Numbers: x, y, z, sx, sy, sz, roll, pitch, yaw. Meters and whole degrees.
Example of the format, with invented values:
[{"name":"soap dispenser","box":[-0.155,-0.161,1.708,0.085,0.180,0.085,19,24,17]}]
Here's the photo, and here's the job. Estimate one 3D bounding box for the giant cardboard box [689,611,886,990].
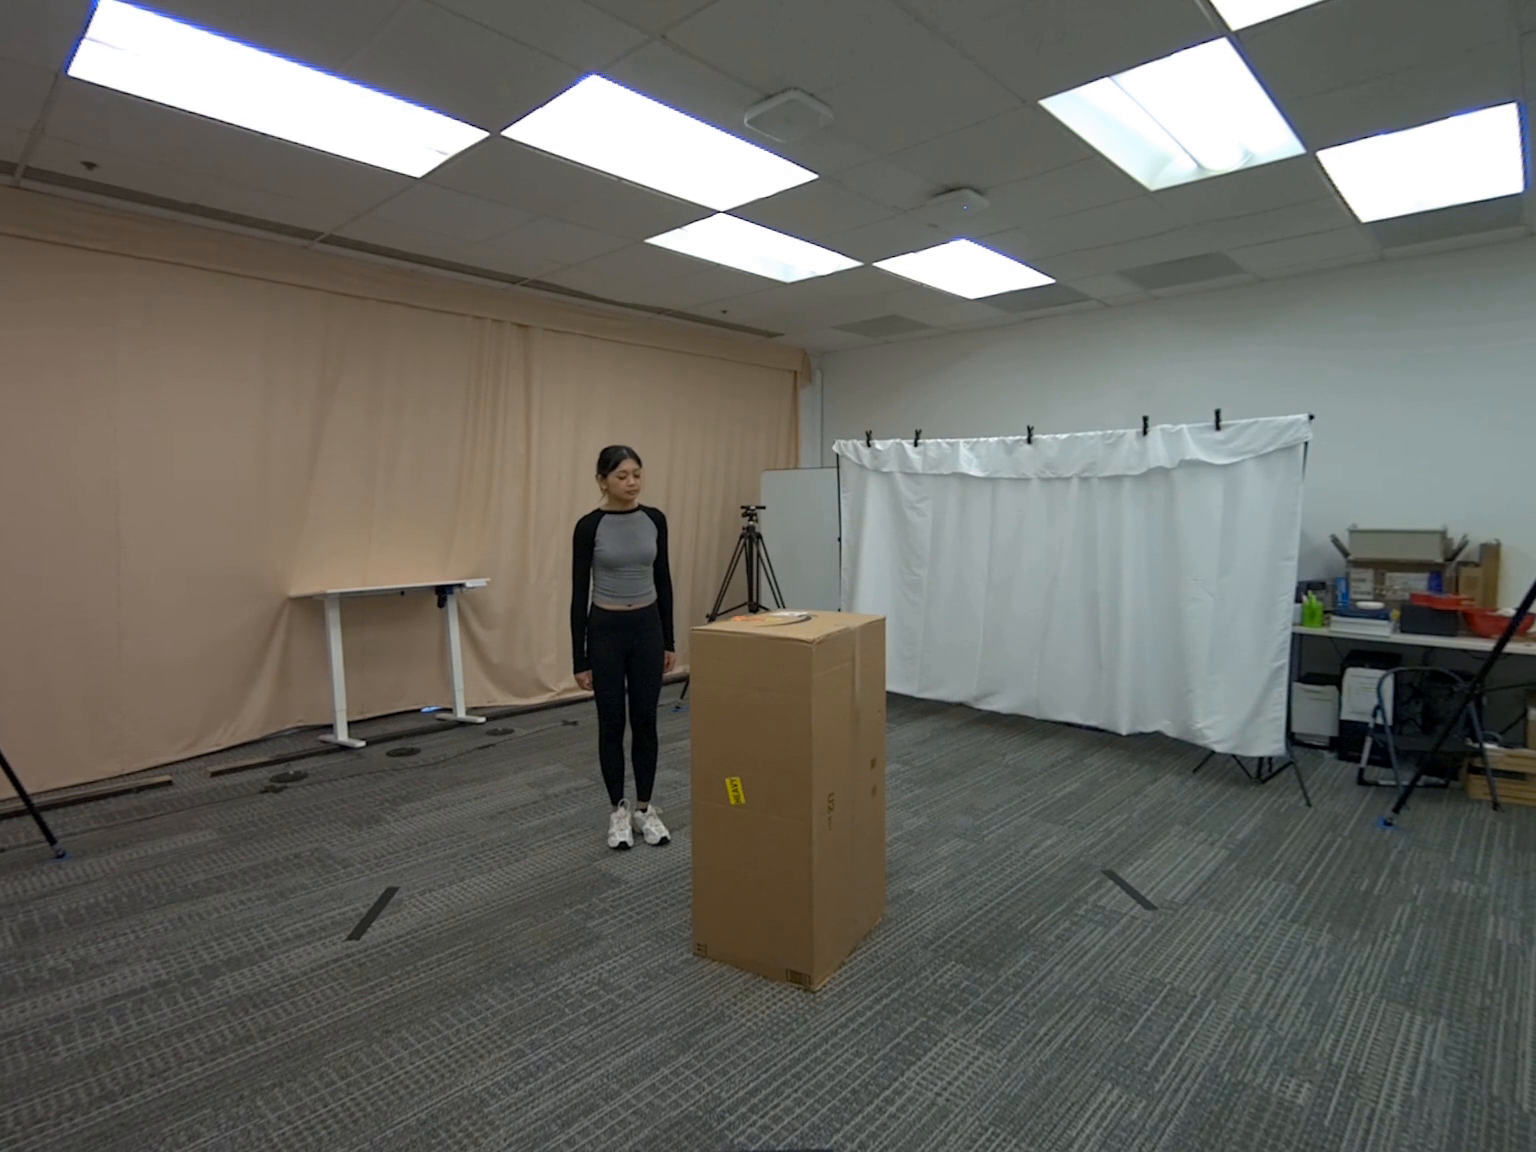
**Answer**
[{"name":"giant cardboard box","box":[0.081,0.656,2.726,0.439,1.024,0.562,1,3,31]}]
